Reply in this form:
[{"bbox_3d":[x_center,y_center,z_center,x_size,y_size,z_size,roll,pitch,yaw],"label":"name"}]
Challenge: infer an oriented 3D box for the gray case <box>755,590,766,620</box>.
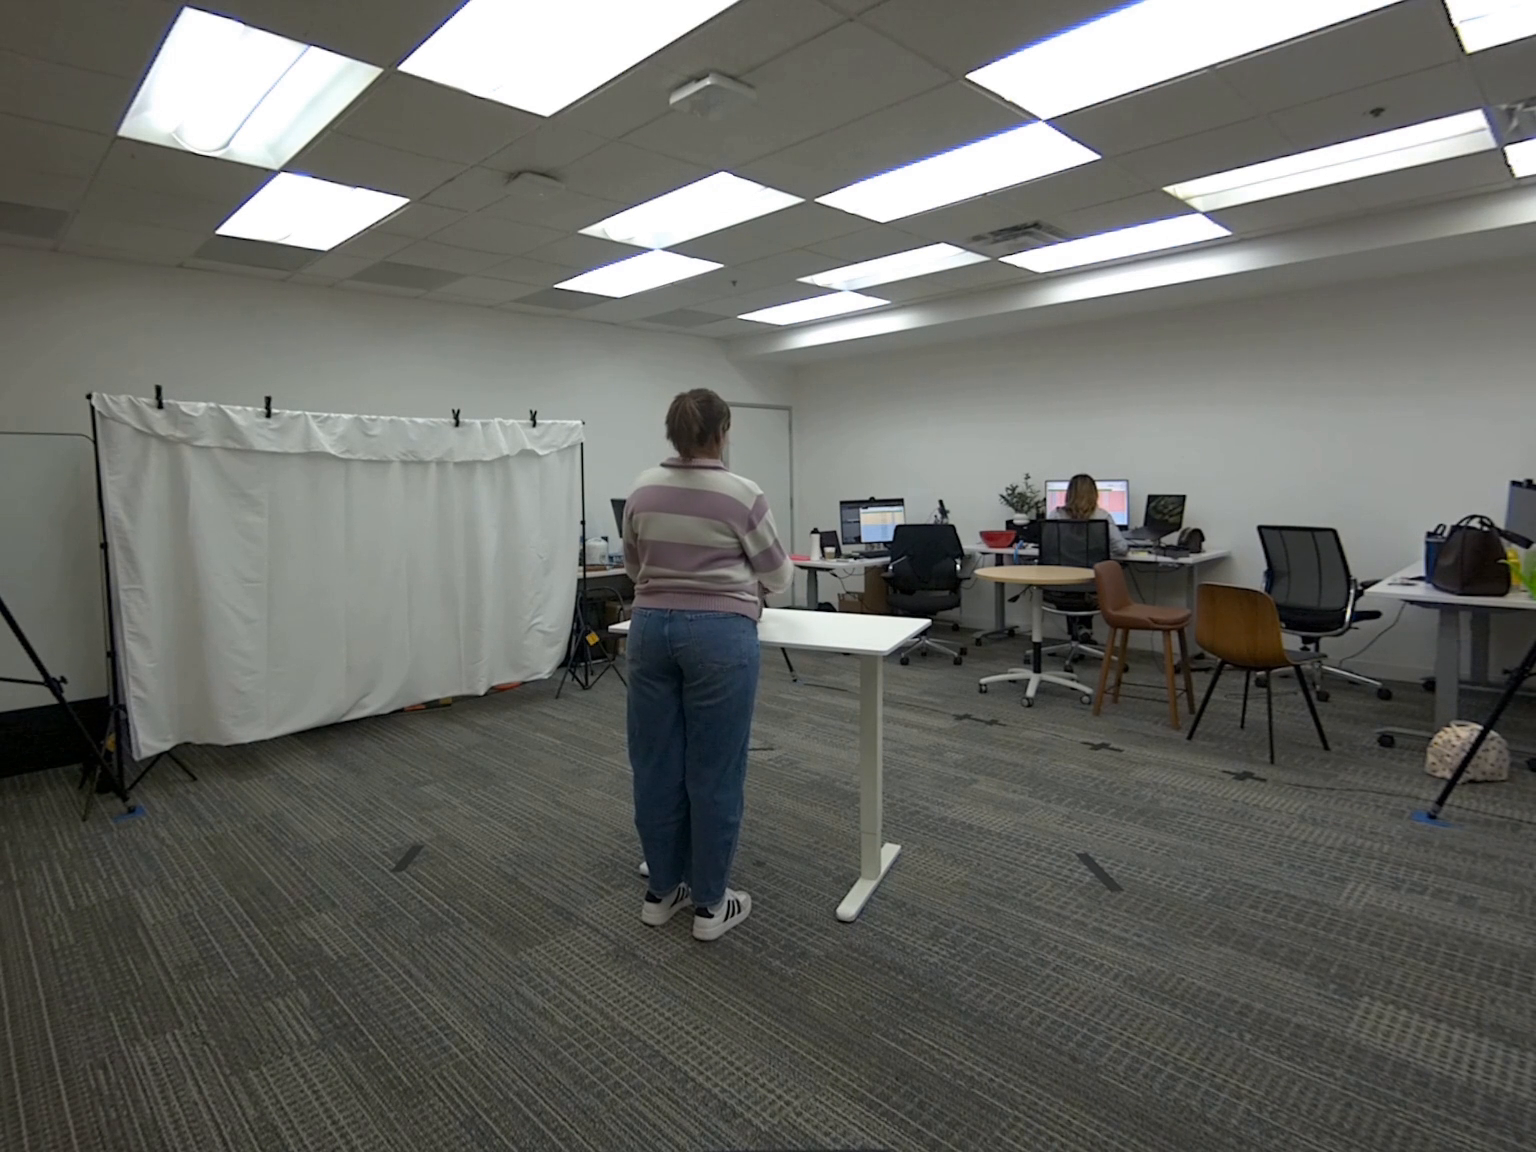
[{"bbox_3d":[-0.135,0.031,3.128,0.260,0.263,0.102,3,-9,10],"label":"gray case"}]
